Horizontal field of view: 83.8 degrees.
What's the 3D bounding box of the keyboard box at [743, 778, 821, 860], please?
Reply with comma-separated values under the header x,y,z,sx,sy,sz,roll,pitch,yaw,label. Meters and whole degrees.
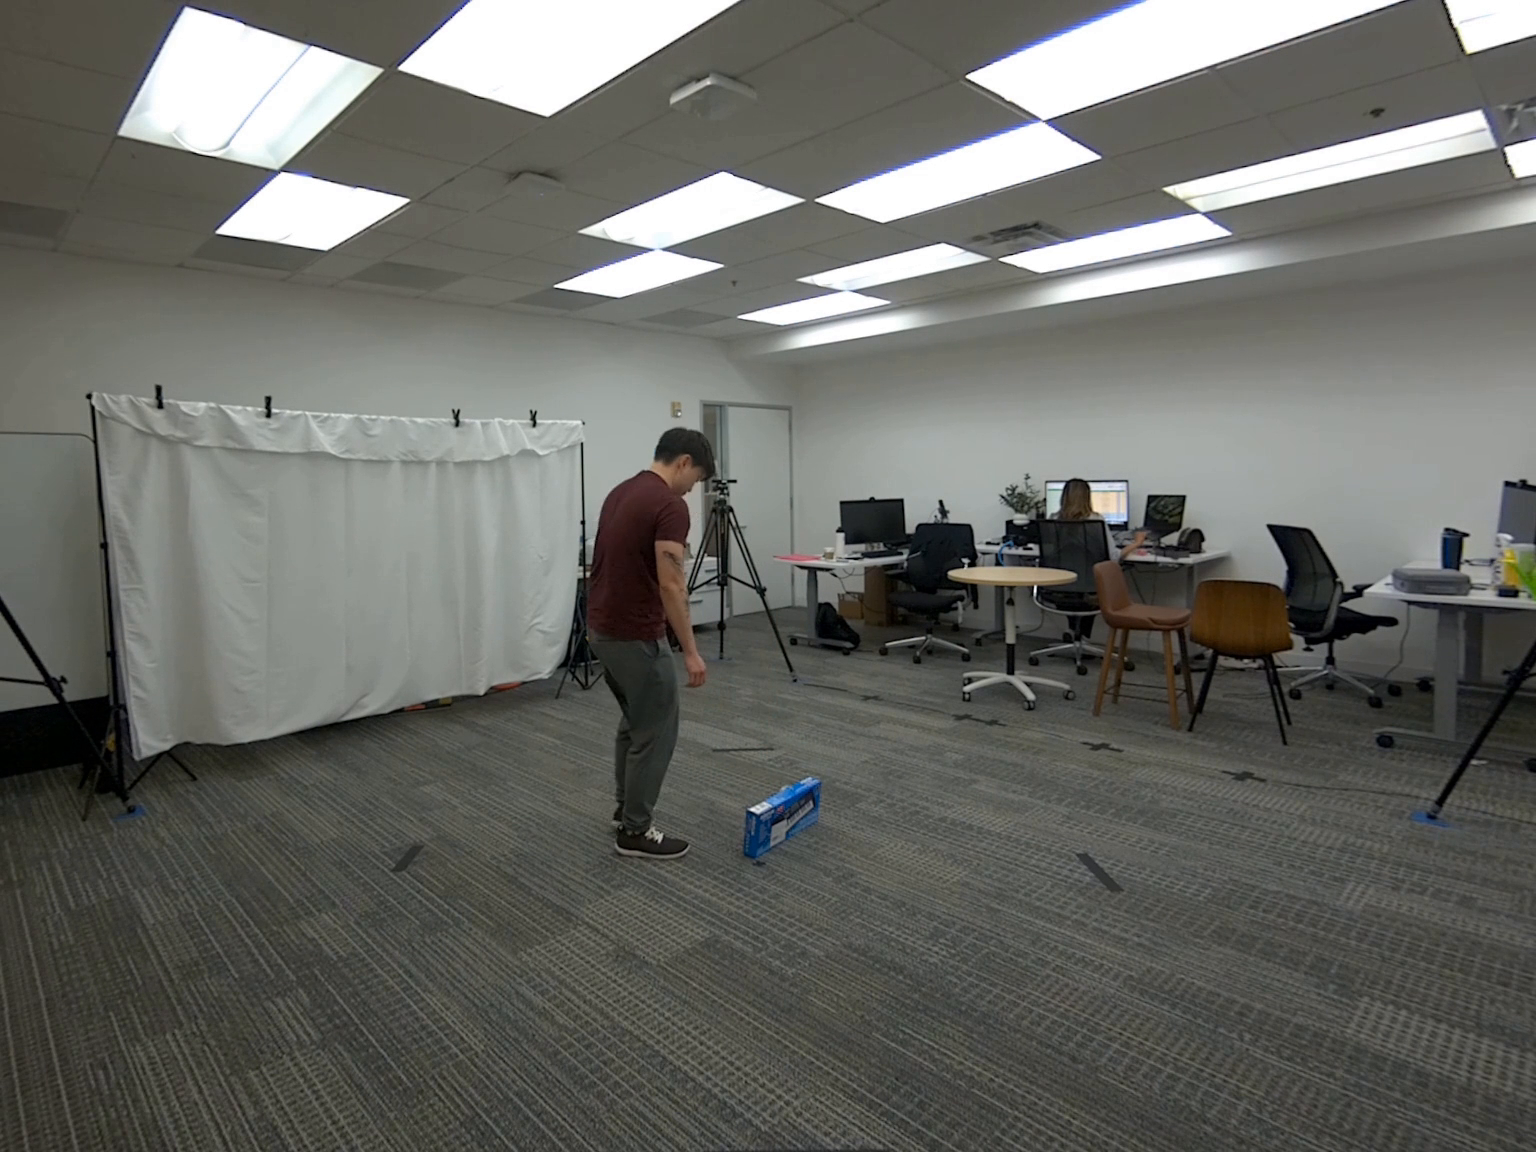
x,y,z,sx,sy,sz,roll,pitch,yaw,label
0.063,0.932,3.322,0.061,0.174,0.426,11,12,35,keyboard box
